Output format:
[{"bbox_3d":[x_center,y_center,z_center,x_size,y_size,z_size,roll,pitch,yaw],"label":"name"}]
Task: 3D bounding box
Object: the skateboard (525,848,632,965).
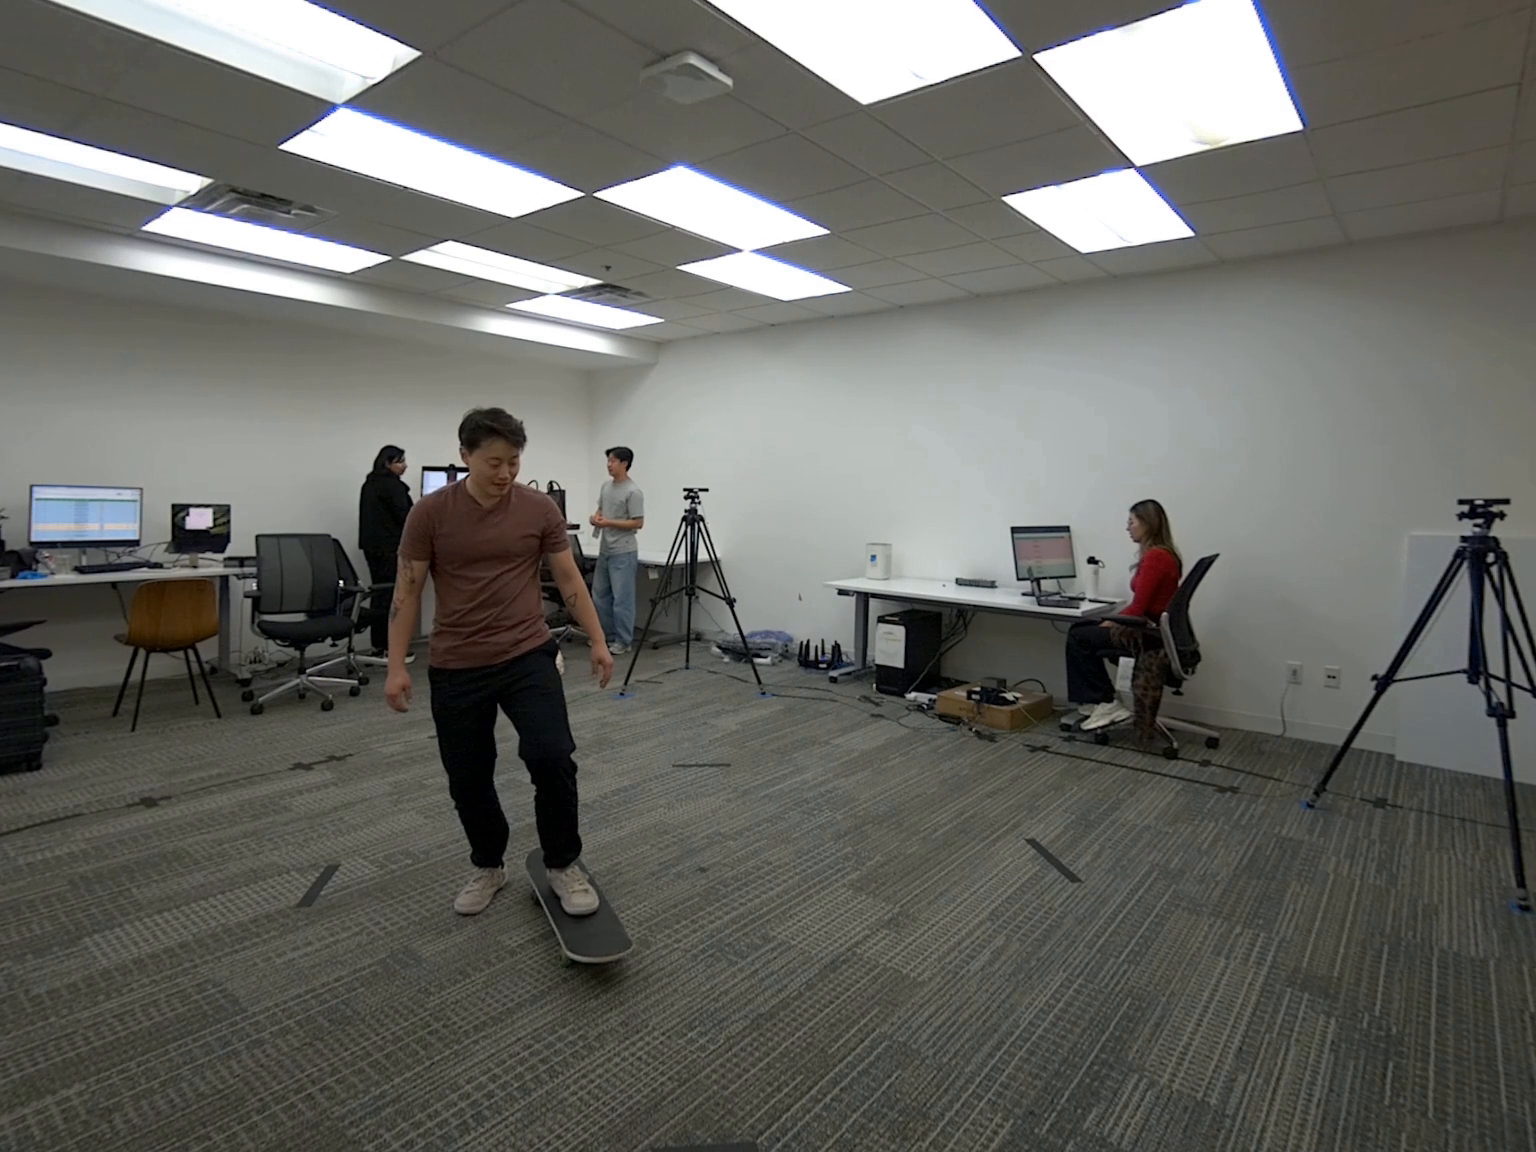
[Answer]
[{"bbox_3d":[-0.625,1.049,2.676,0.189,0.110,0.808,-1,6,-27],"label":"skateboard"}]
